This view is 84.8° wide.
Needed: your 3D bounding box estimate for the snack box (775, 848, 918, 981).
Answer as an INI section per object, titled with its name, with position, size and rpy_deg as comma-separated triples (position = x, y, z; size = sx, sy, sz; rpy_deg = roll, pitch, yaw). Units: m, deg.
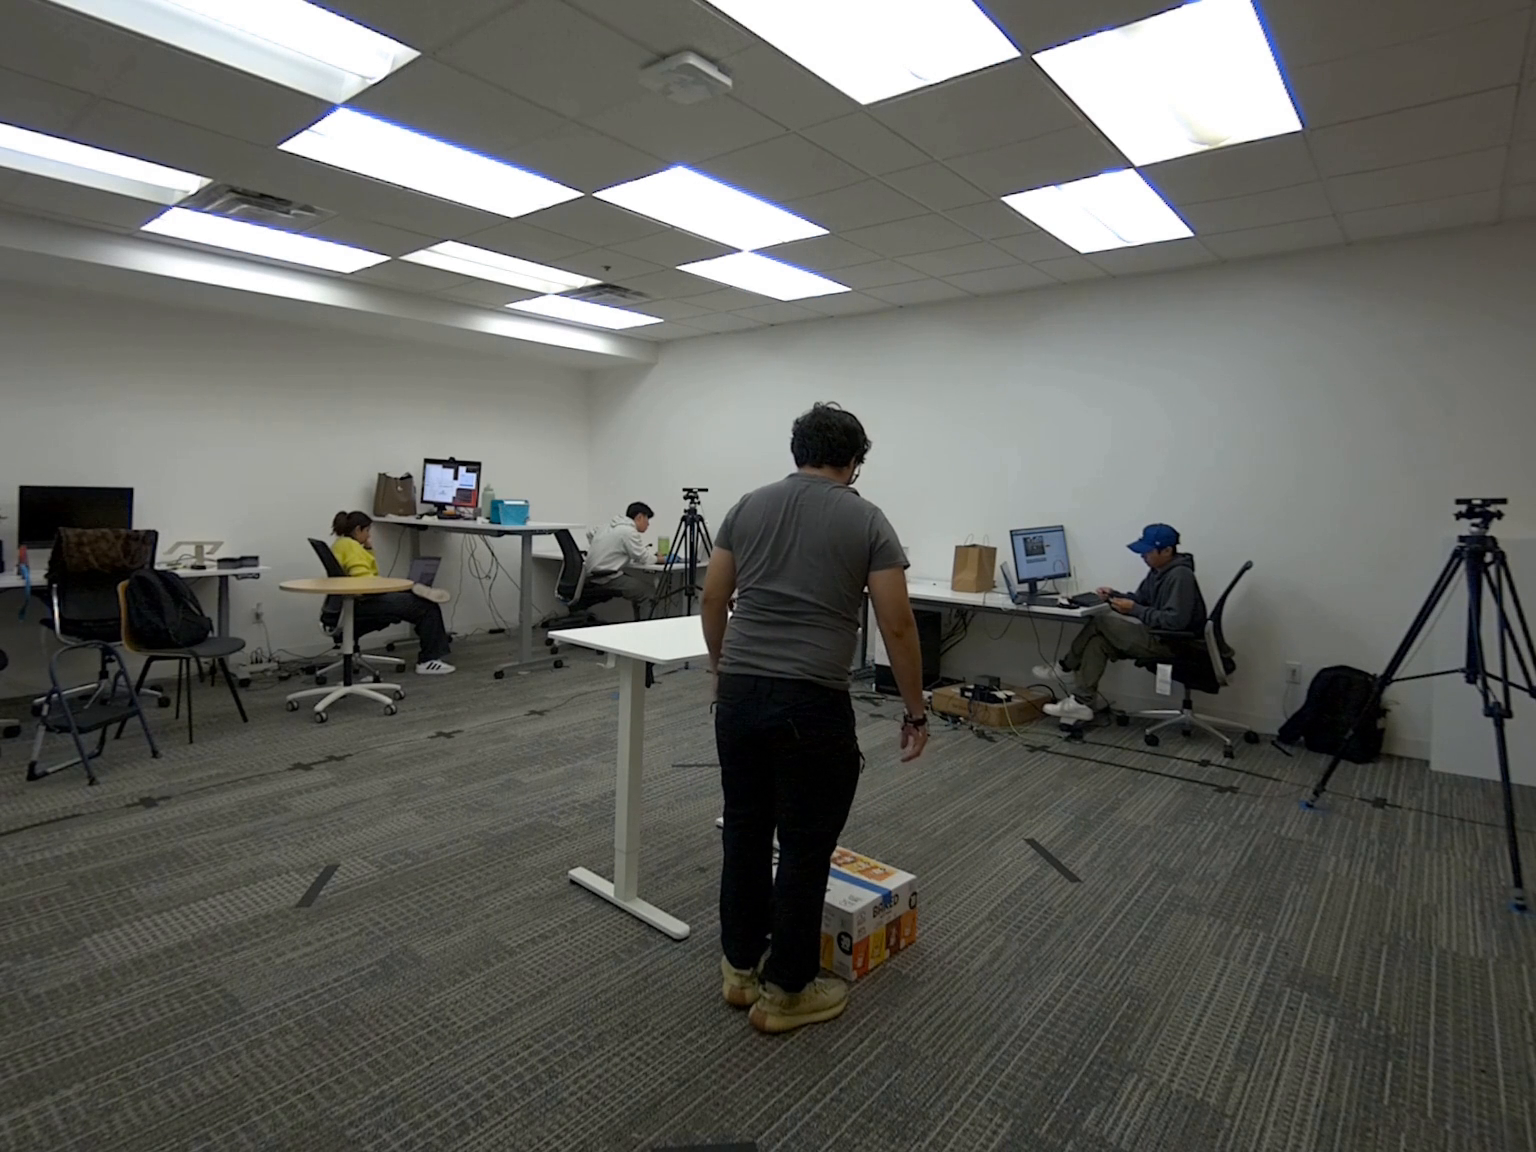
[snack box]
position = 0.194, 1.022, 2.661
size = 0.419, 0.205, 0.330
rpy_deg = 6, 7, 43
